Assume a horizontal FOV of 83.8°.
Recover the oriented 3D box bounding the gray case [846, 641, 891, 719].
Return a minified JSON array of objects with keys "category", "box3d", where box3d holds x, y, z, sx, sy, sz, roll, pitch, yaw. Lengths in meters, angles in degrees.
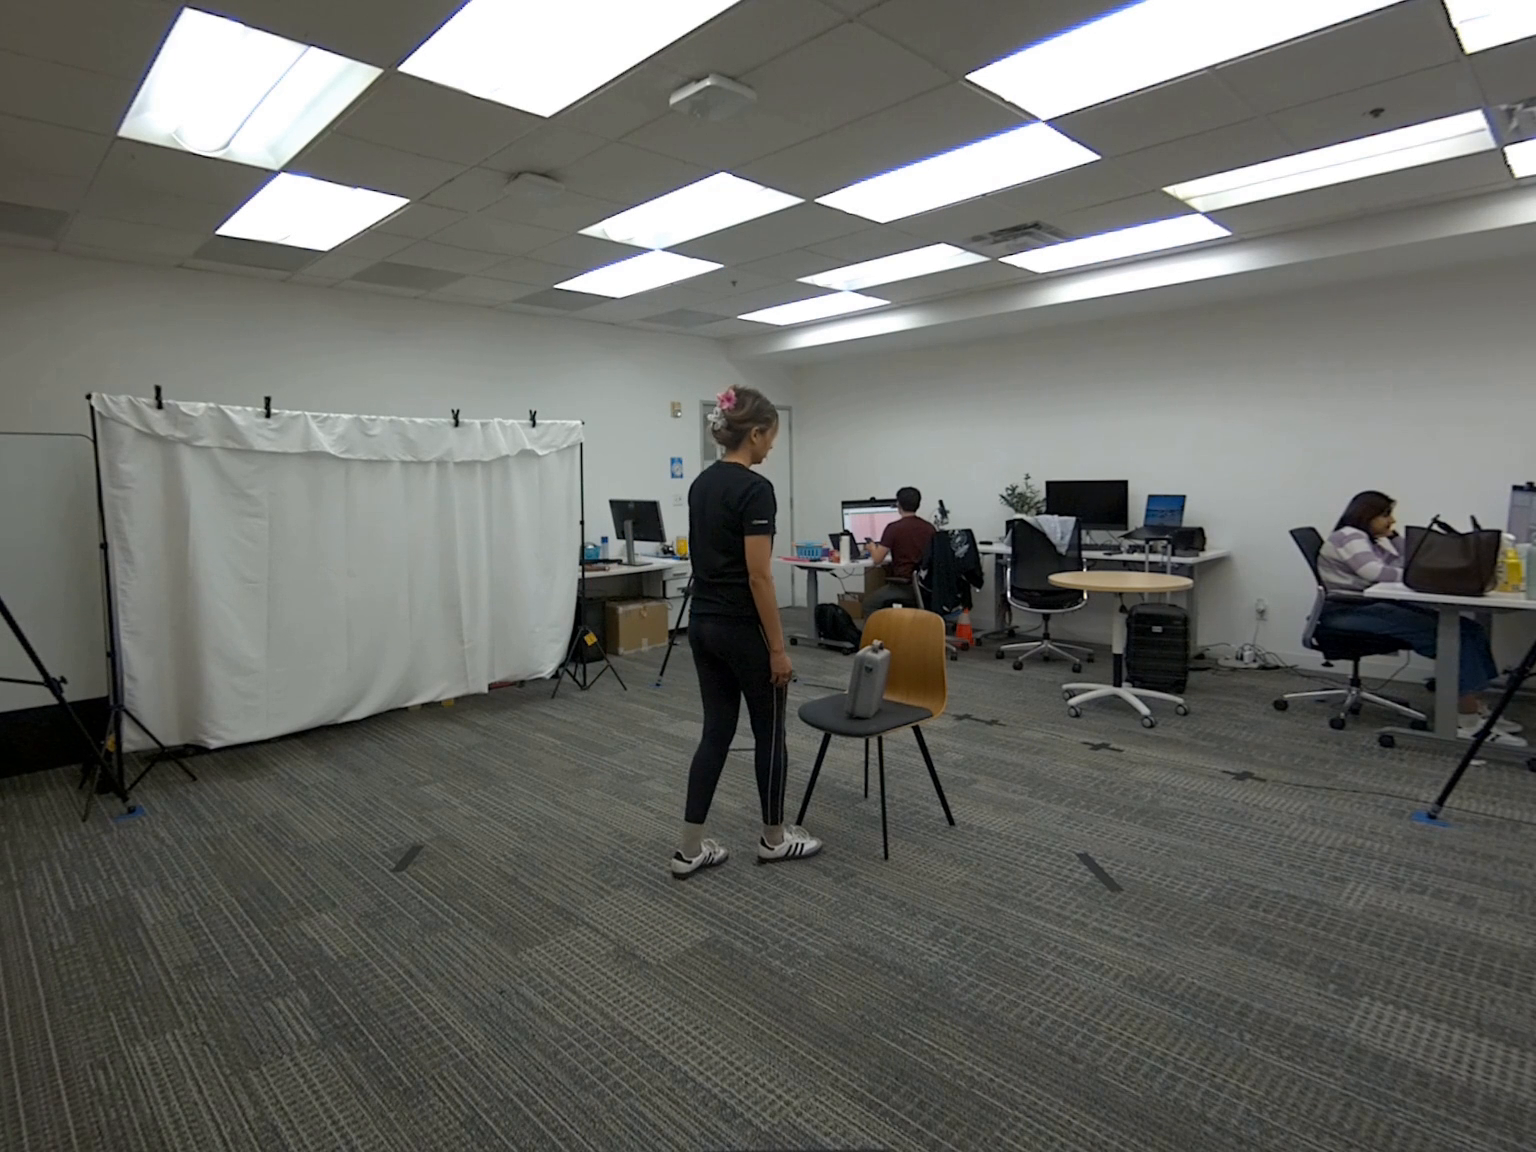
[{"category":"gray case","box3d":[0.403,0.408,3.352,0.106,0.260,0.252,11,6,18]}]
